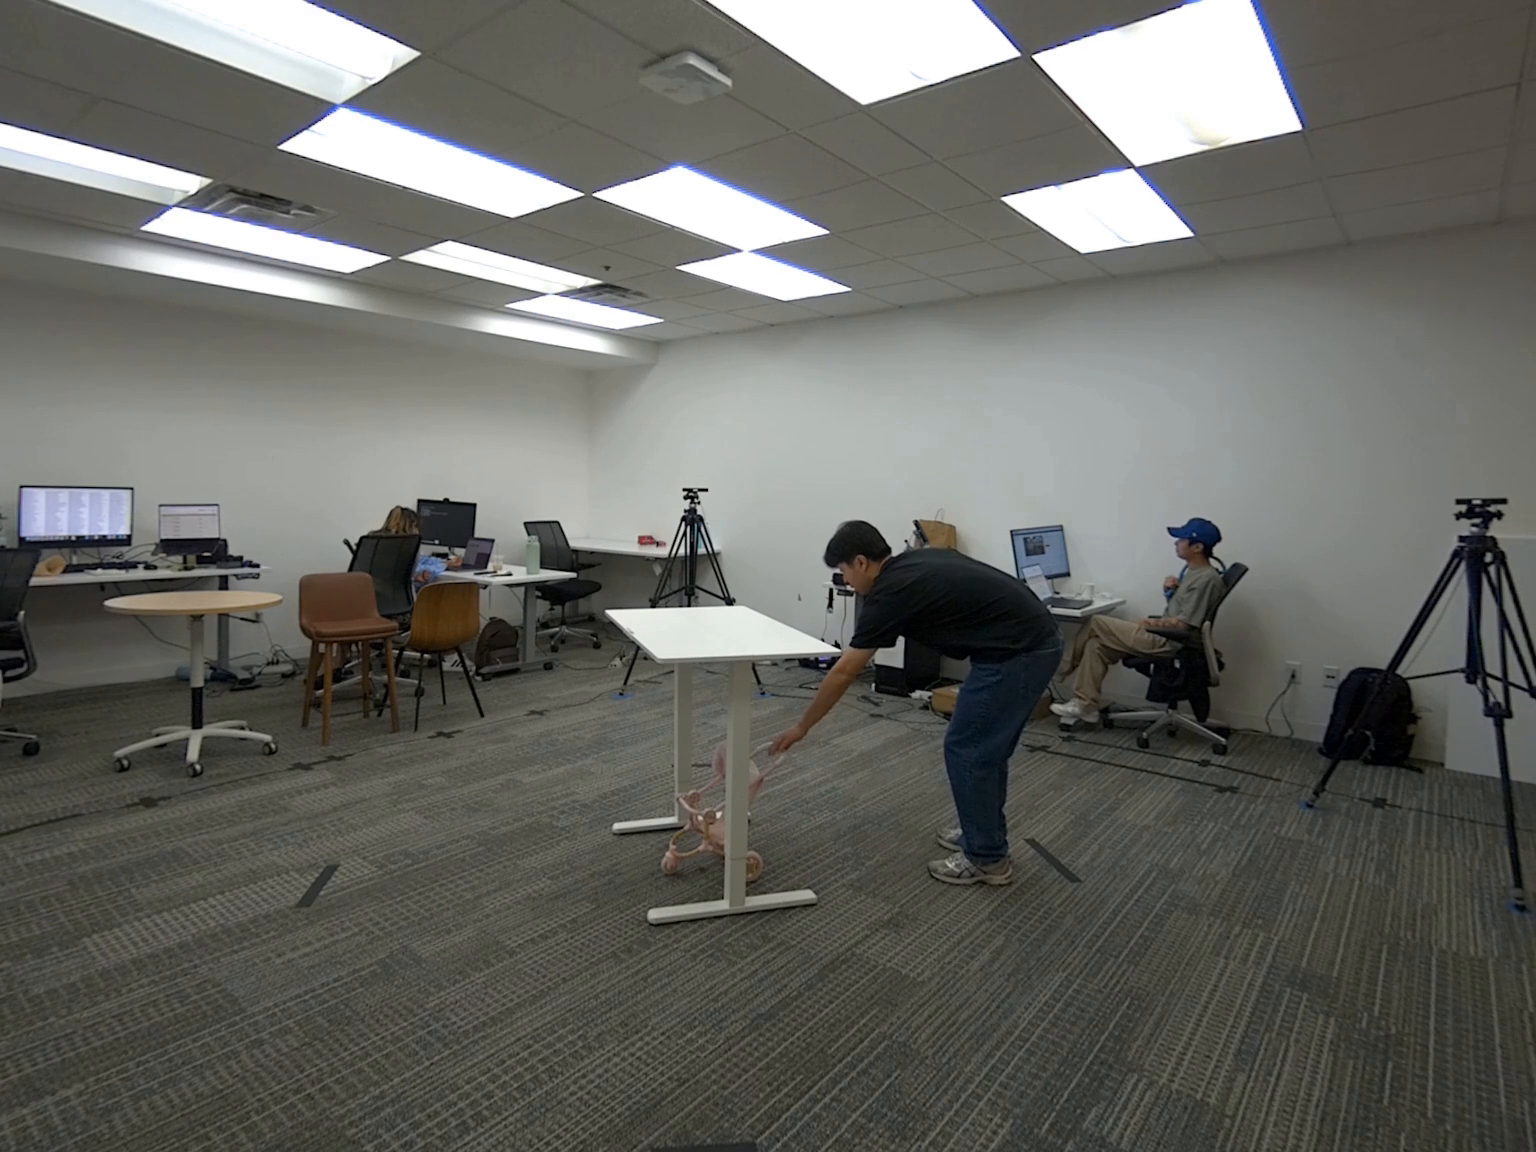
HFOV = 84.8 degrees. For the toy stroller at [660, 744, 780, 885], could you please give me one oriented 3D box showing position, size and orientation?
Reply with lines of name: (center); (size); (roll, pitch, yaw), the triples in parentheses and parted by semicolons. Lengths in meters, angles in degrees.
toy stroller: (-0.185, 0.846, 3.112); (0.335, 0.535, 0.286); (16, 0, -15)
